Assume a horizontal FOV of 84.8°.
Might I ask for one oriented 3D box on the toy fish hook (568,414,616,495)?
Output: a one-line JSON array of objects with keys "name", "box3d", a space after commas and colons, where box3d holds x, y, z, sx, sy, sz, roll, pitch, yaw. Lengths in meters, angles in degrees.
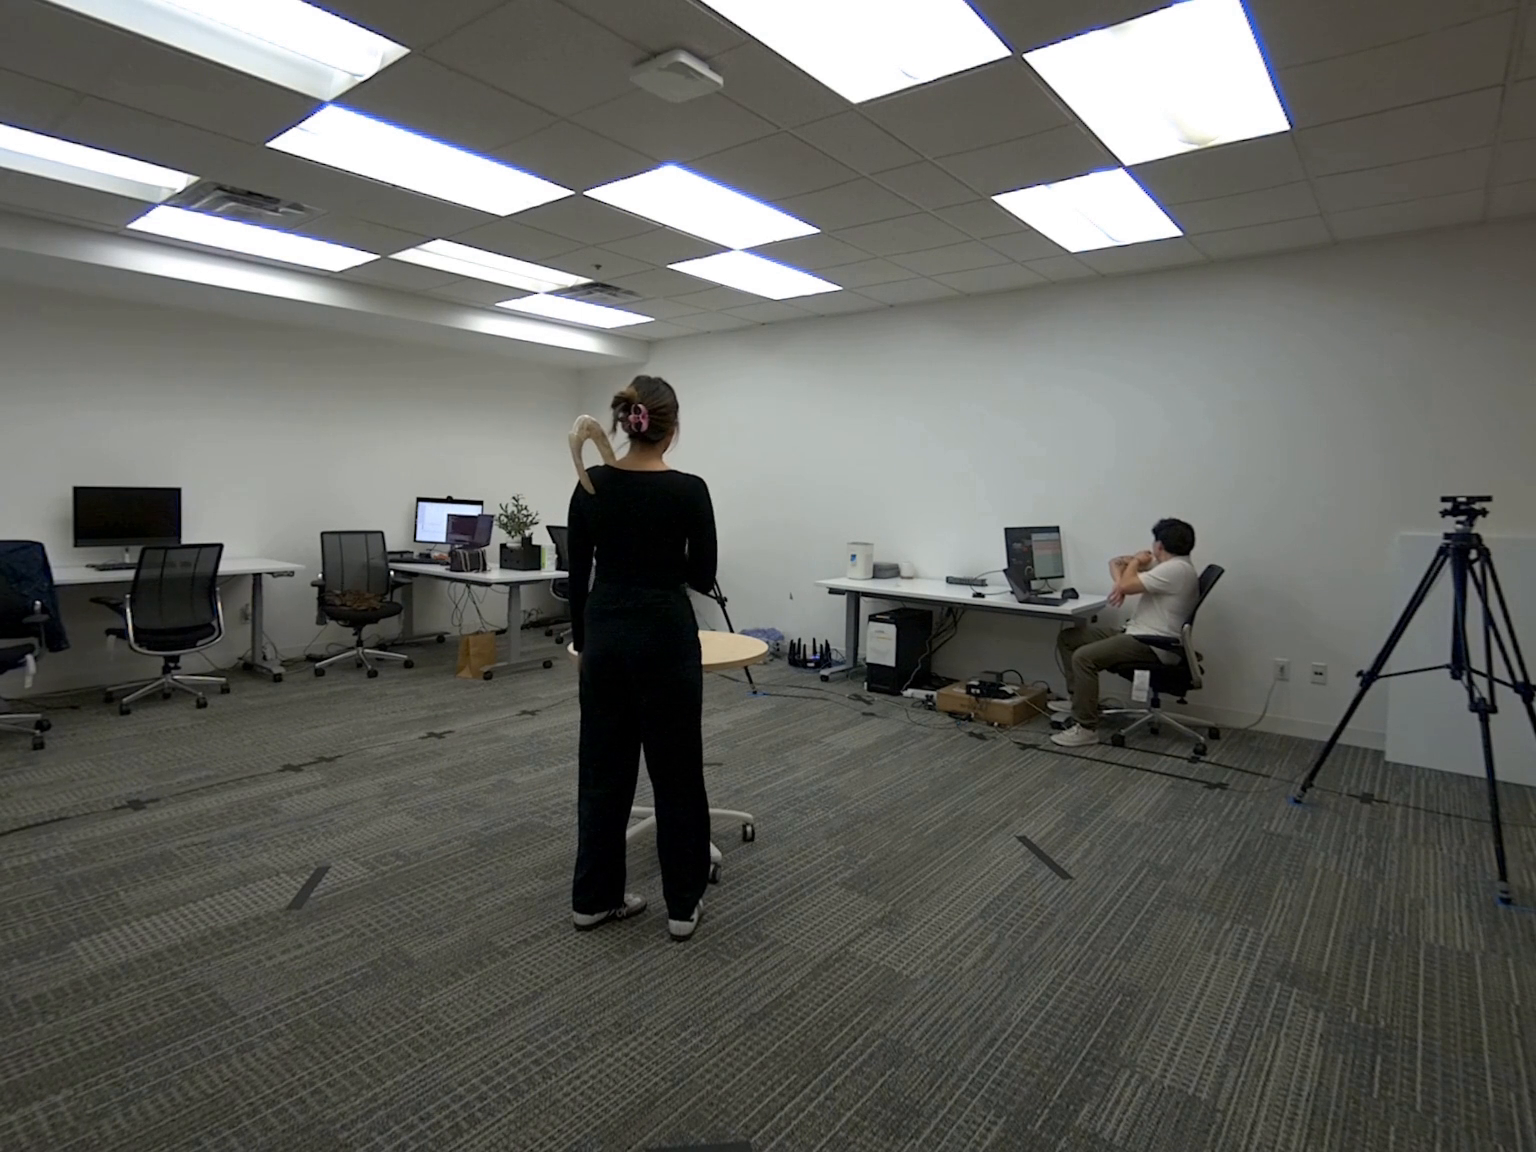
[{"name": "toy fish hook", "box3d": [-0.510, -0.273, 2.665, 0.049, 0.489, 0.227, -6, 38, 25]}]
